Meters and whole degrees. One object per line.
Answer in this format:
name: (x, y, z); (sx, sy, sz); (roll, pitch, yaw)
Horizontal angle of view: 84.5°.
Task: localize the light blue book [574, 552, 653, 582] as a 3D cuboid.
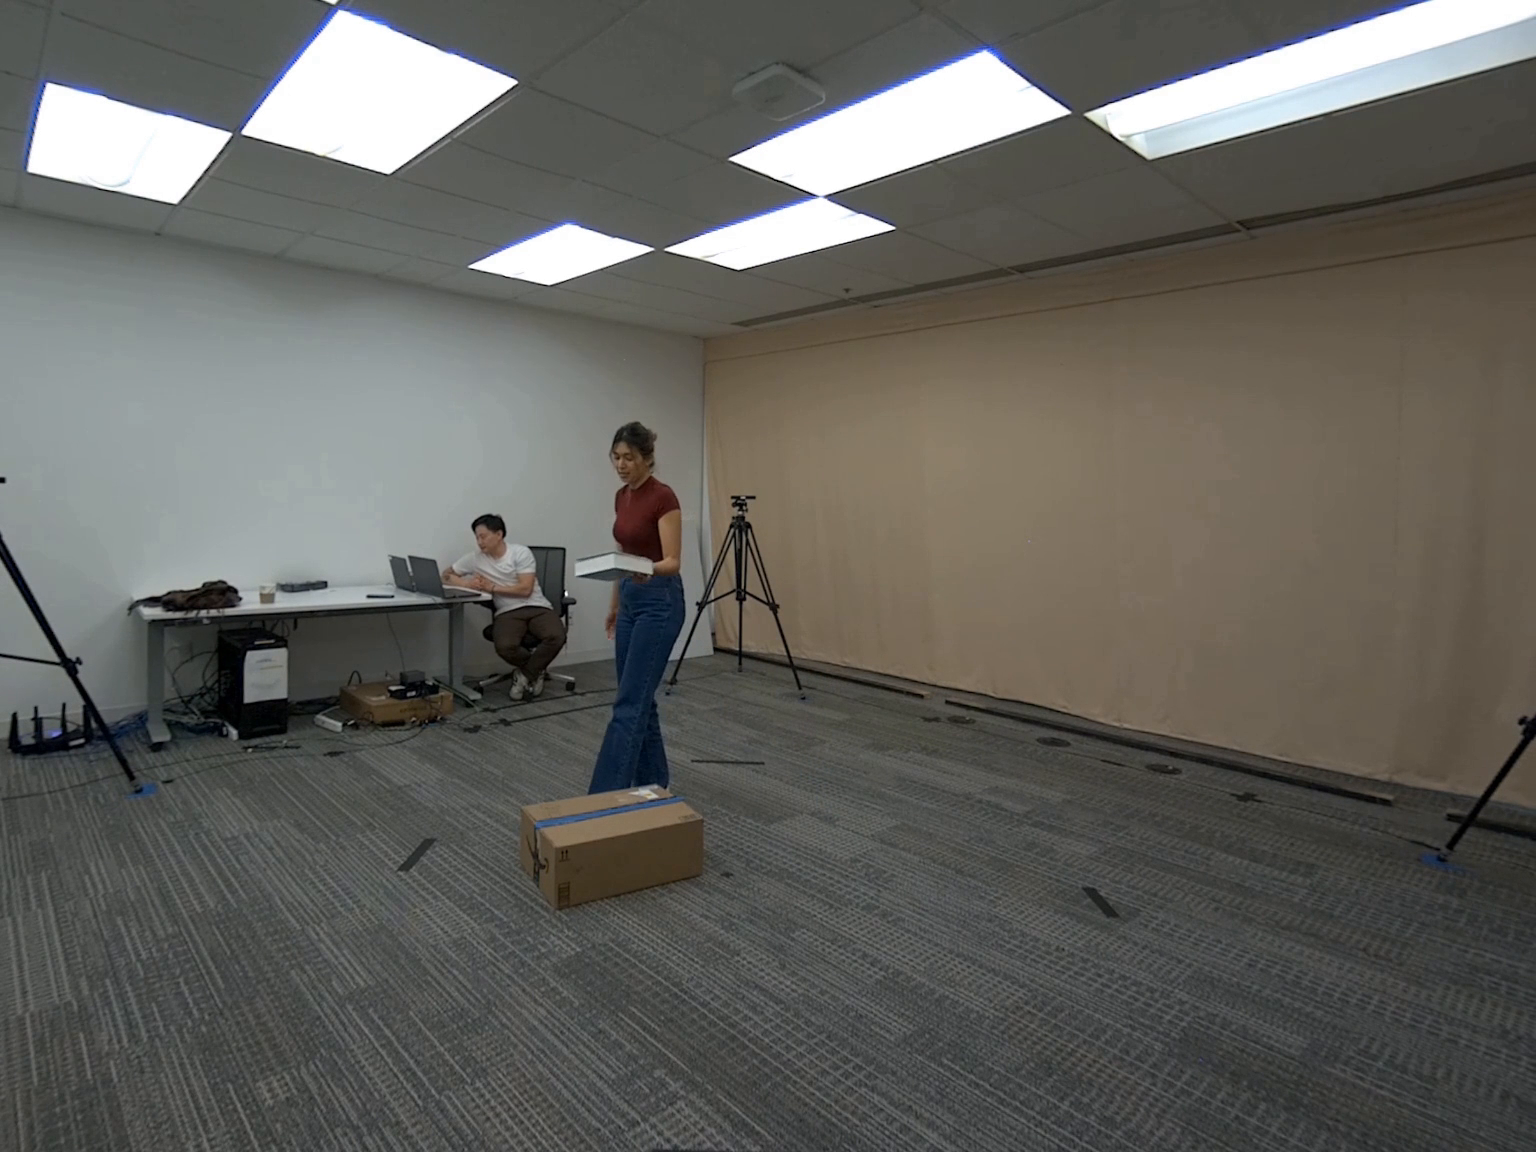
light blue book: (-0.629, -0.031, 3.252); (0.266, 0.059, 0.186); (-9, -14, 44)
